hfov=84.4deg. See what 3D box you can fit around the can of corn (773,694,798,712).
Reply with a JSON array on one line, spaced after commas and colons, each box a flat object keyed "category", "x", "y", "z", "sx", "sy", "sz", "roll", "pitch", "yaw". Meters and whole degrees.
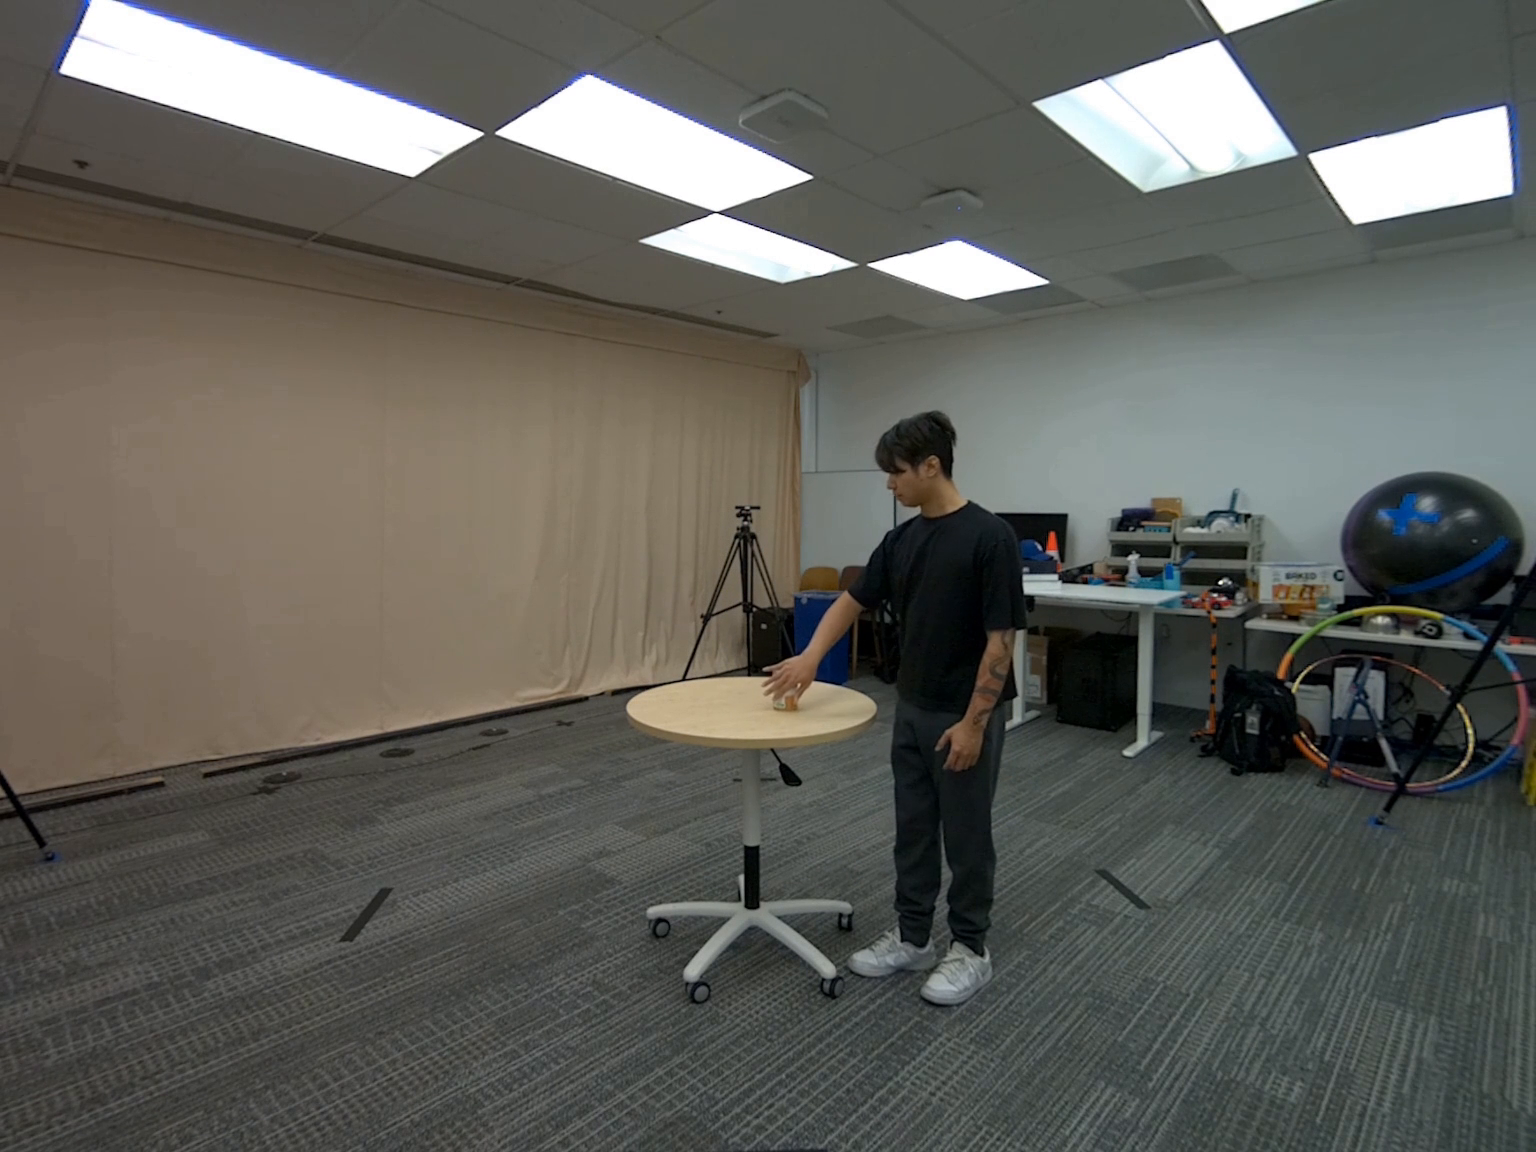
[{"category": "can of corn", "x": 0.062, "y": 0.346, "z": 2.525, "sx": 0.074, "sy": 0.111, "sz": 0.074, "roll": 0, "pitch": 2, "yaw": -2}]
